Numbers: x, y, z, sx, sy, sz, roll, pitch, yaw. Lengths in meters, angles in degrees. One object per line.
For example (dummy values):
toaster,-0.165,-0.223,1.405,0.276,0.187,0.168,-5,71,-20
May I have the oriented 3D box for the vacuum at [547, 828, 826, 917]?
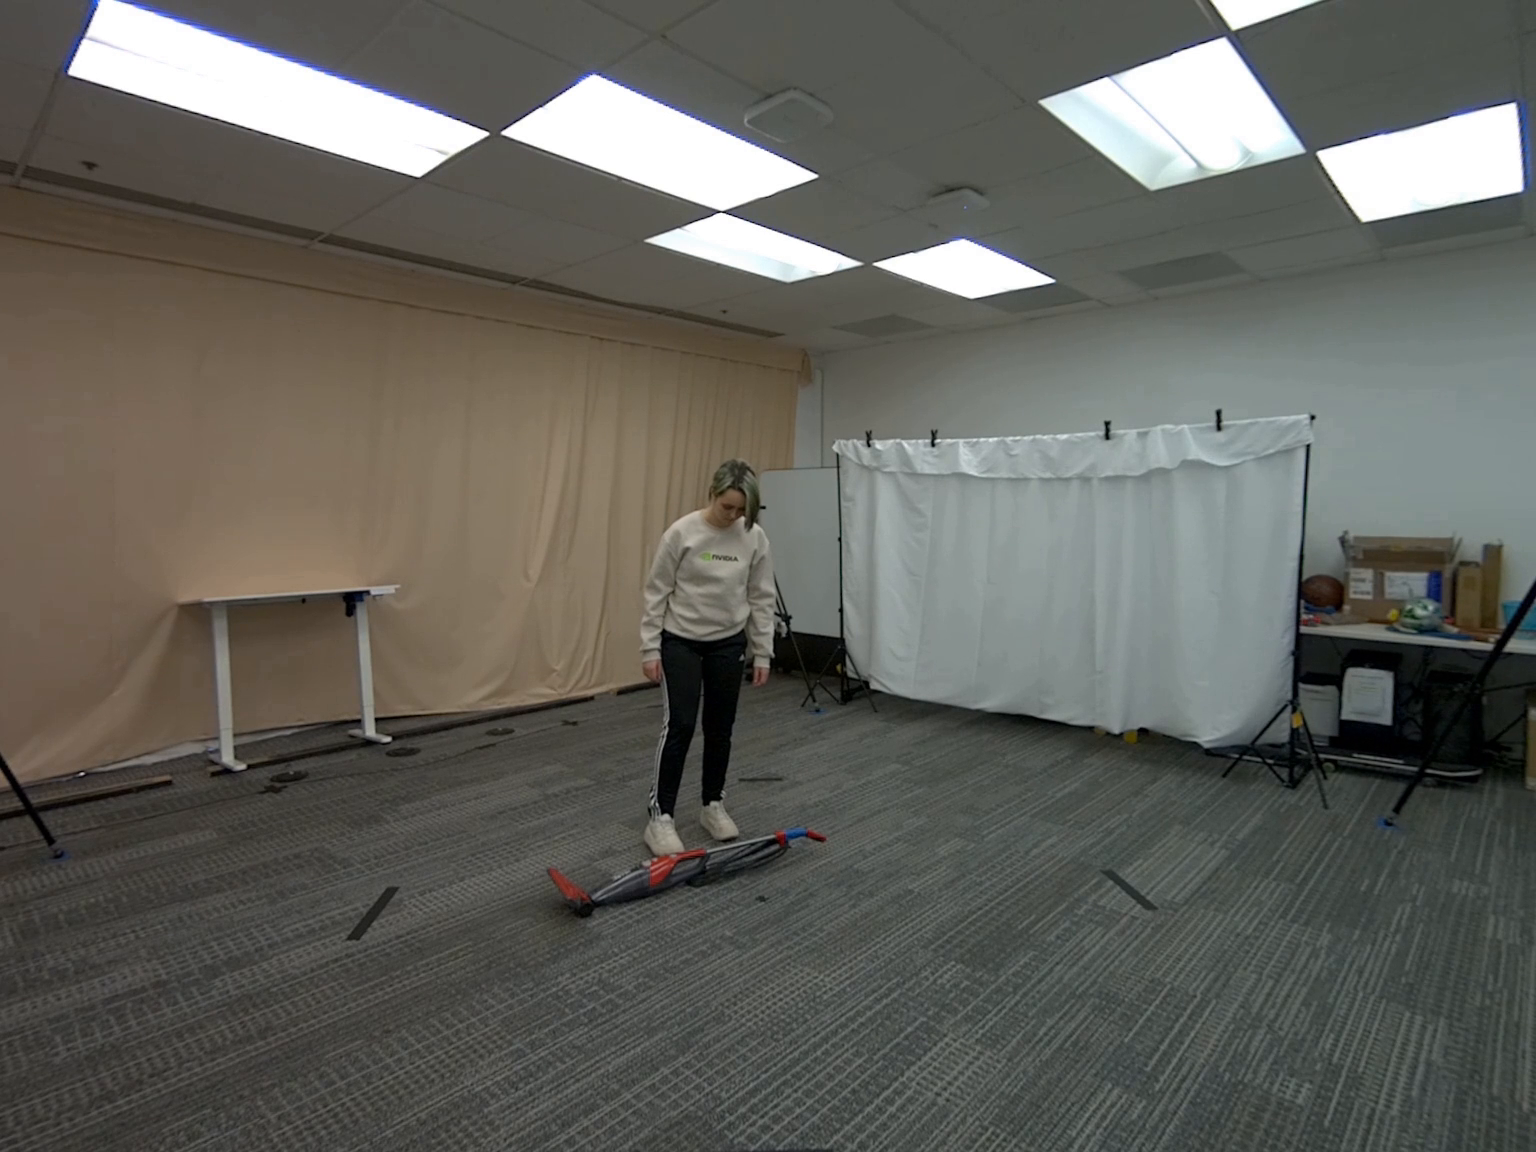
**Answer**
vacuum,-0.235,1.071,3.128,1.023,0.144,0.260,-2,4,-28
